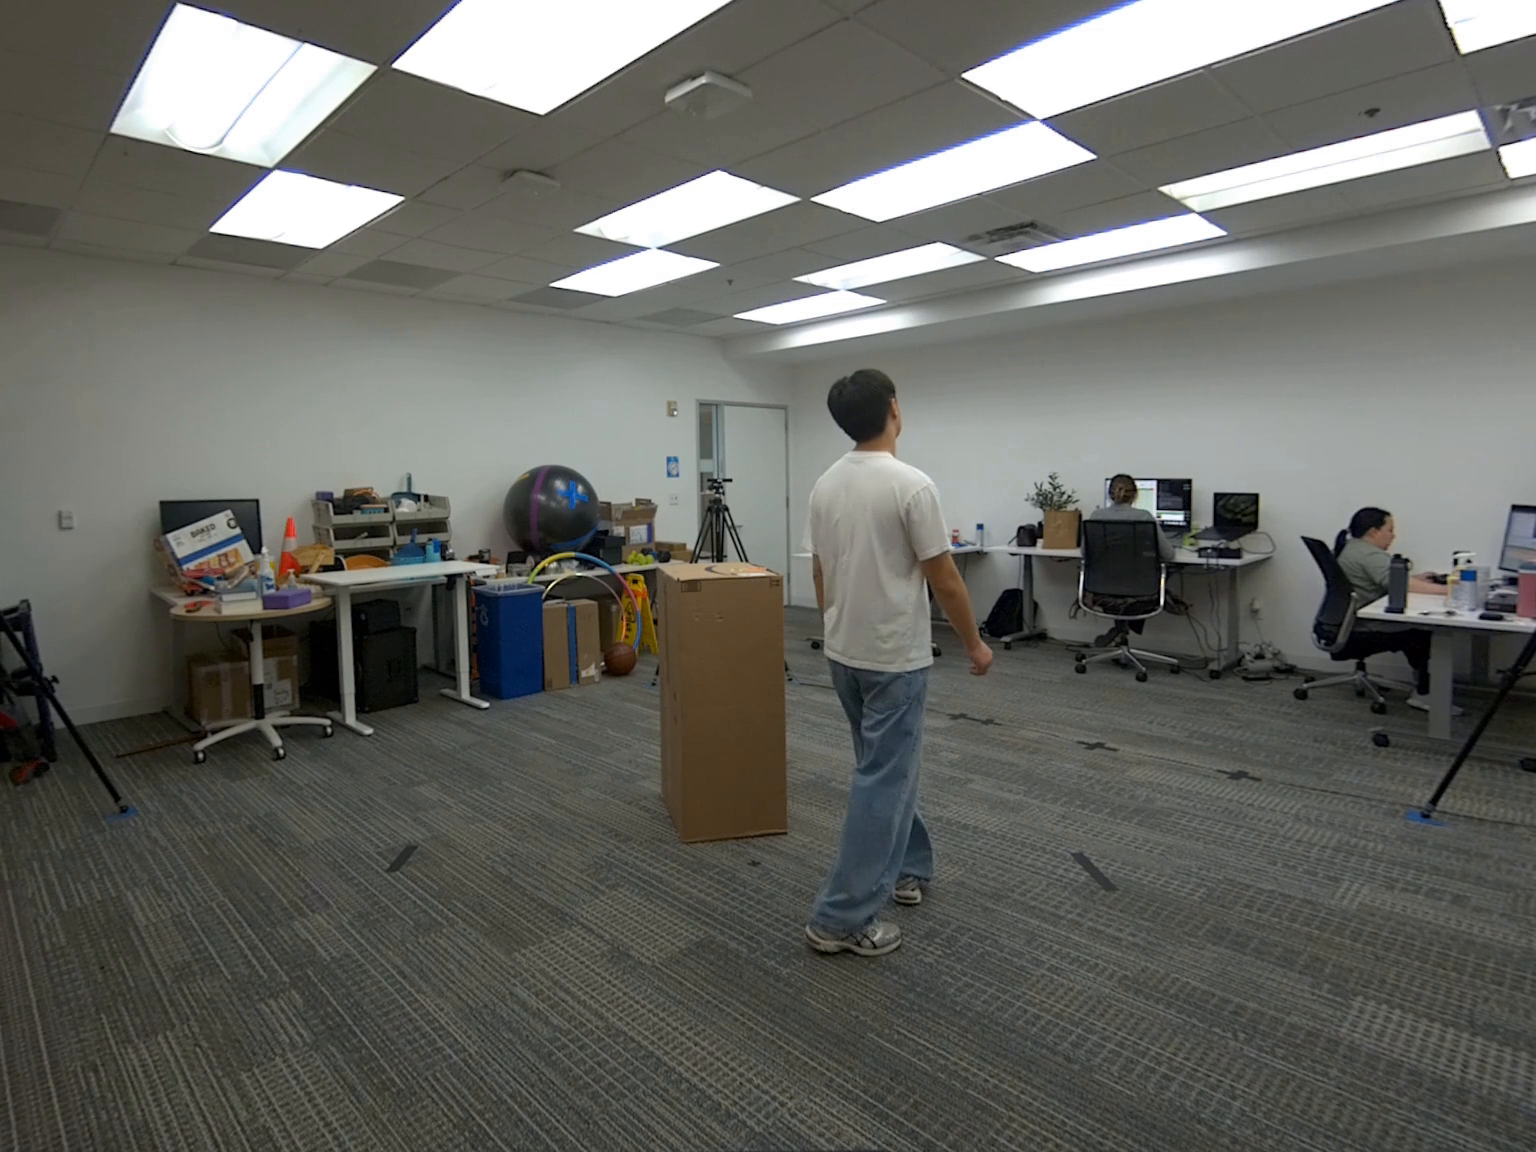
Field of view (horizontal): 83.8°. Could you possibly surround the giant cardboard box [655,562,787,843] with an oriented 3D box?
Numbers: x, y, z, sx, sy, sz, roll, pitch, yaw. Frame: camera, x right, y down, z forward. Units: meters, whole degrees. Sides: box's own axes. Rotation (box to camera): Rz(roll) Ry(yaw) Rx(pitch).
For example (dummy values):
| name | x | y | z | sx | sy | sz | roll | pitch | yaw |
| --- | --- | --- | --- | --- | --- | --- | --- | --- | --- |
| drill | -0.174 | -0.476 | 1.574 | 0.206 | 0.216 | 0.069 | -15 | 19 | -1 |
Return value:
| name | x | y | z | sx | sy | sz | roll | pitch | yaw |
| --- | --- | --- | --- | --- | --- | --- | --- | --- | --- |
| giant cardboard box | -0.207 | 0.486 | 3.570 | 0.420 | 1.023 | 0.587 | -2 | 4 | -15 |
